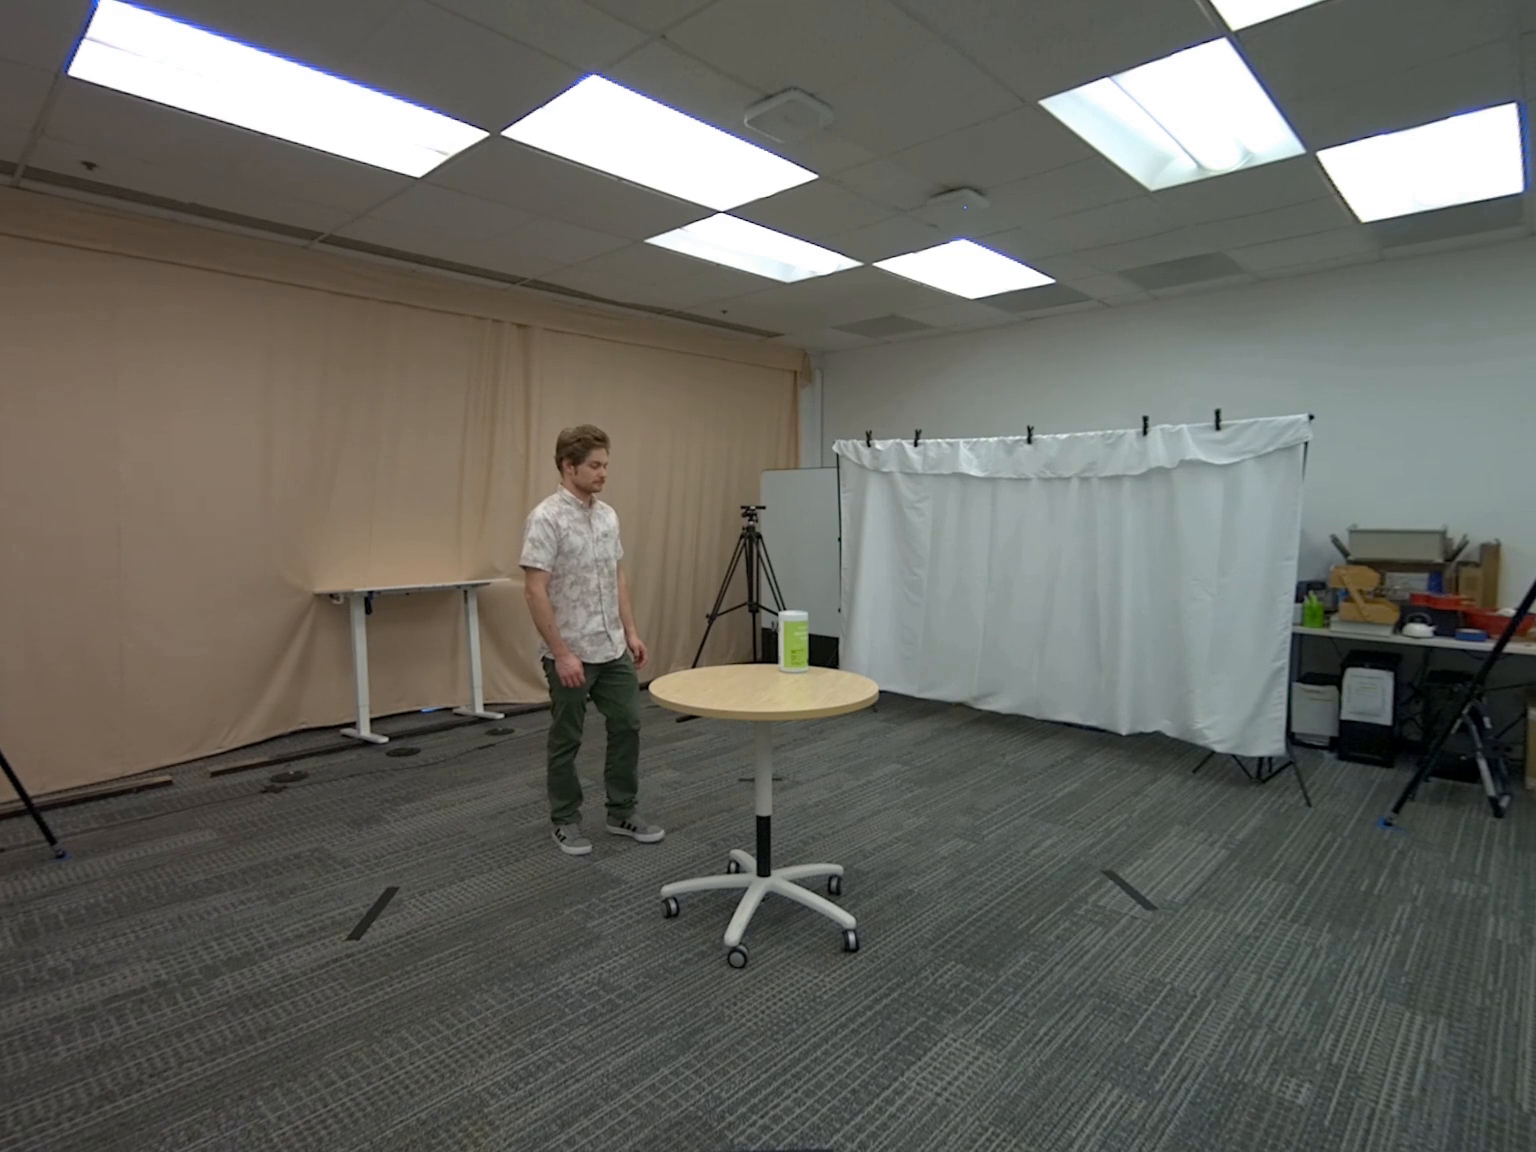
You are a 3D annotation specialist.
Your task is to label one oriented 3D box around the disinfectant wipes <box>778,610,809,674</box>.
[{"bbox_3d":[0.098,0.242,3.069,0.118,0.217,0.118,1,2,-2],"label":"disinfectant wipes"}]
